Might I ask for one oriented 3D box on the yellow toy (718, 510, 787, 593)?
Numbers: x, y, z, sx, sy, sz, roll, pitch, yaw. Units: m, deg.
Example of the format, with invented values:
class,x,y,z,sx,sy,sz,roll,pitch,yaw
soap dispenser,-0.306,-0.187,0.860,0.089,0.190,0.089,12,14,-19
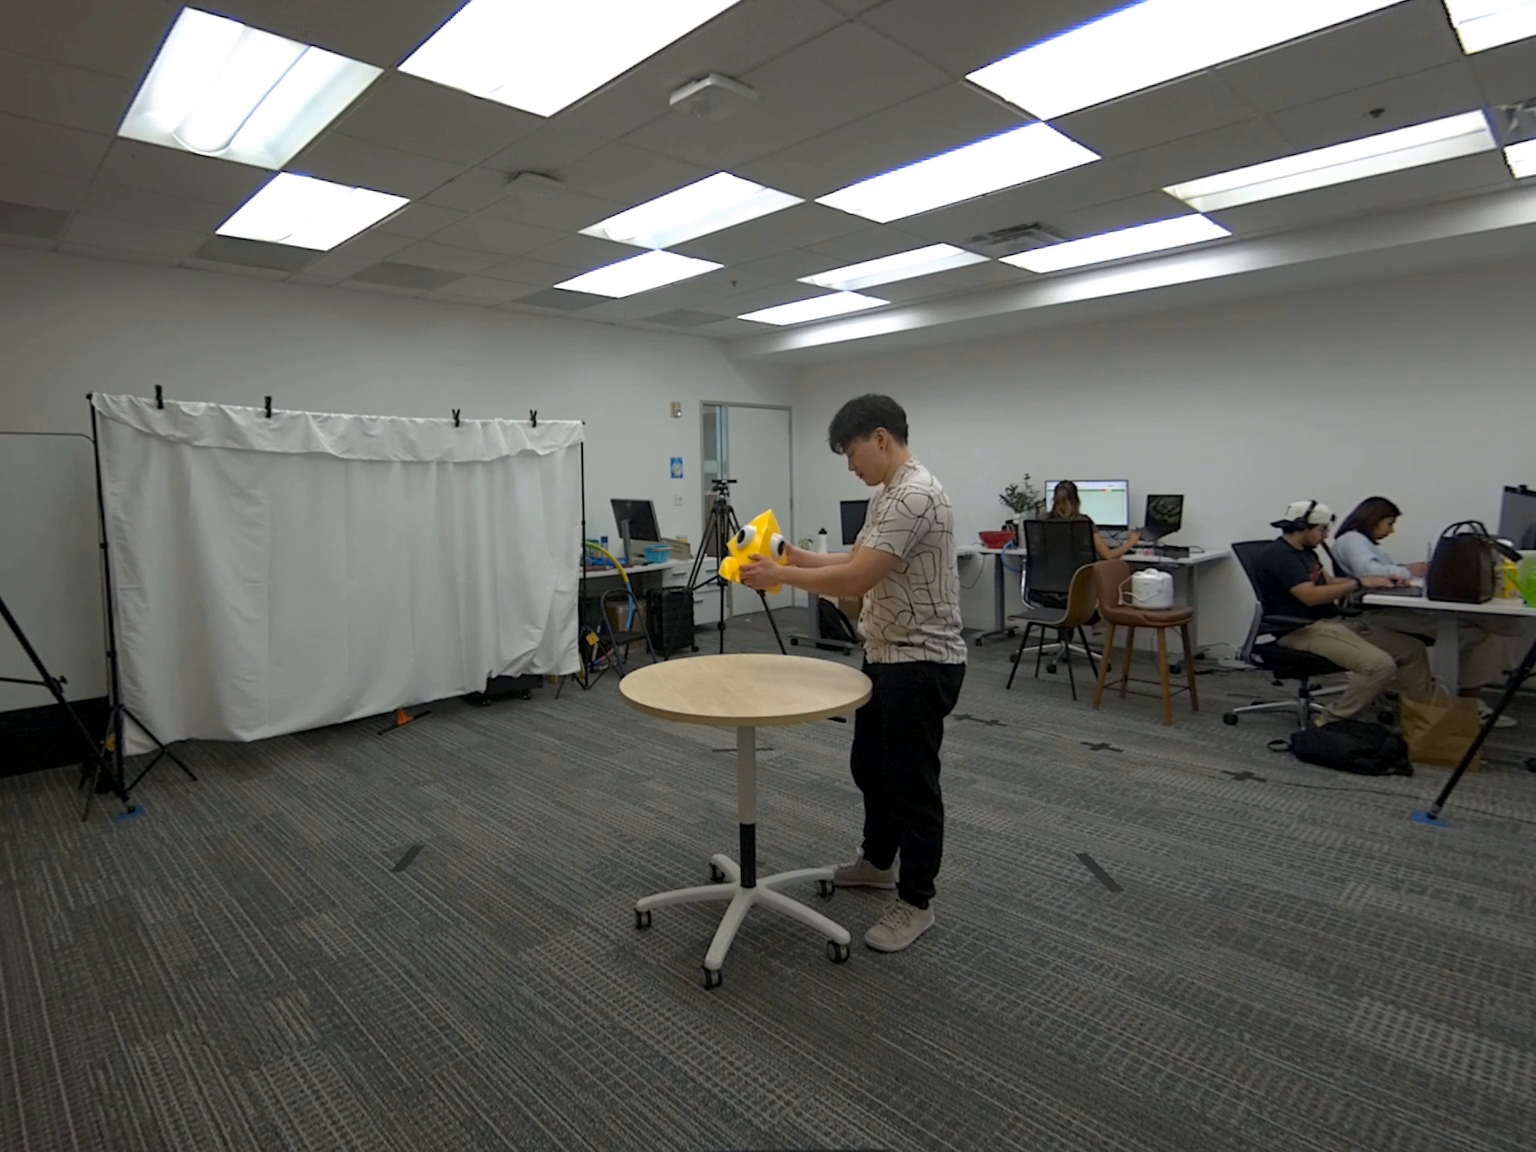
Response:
class,x,y,z,sx,sy,sz,roll,pitch,yaw
yellow toy,-0.023,-0.085,2.657,0.205,0.230,0.194,16,7,-1
